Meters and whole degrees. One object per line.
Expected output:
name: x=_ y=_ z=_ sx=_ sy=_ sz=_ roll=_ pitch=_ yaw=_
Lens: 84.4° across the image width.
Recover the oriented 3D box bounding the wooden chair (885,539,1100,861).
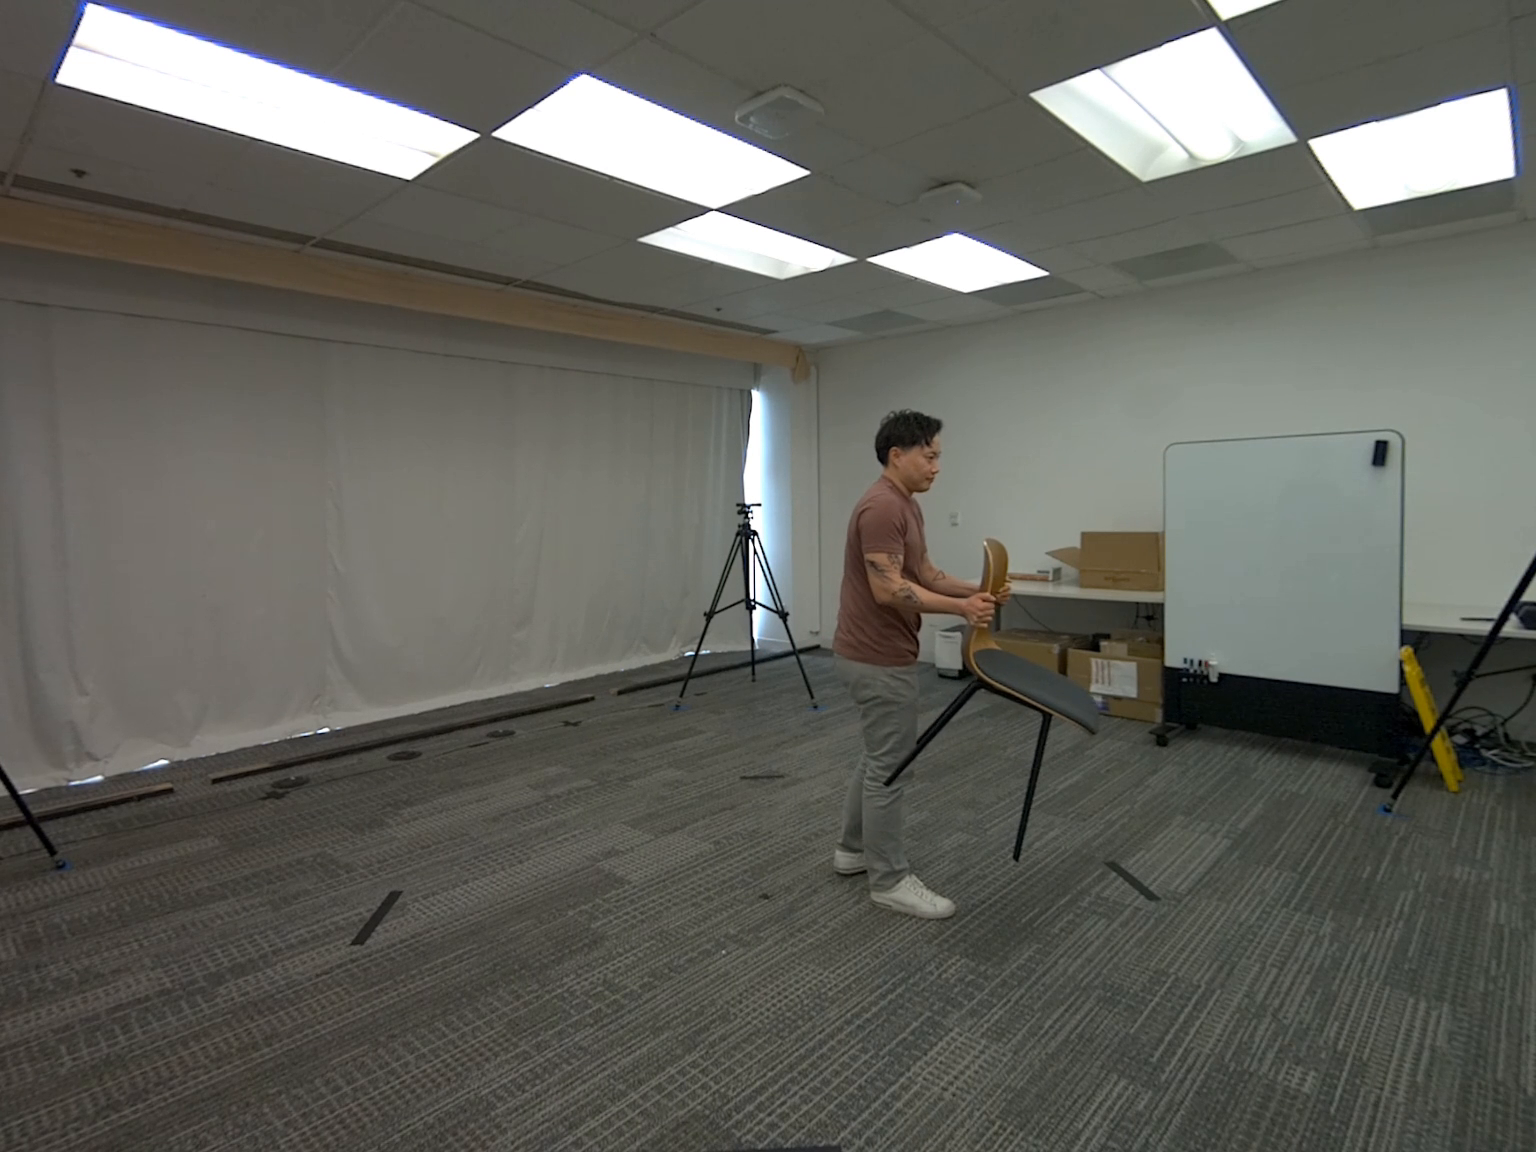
wooden chair: x=0.814 y=0.382 z=2.744 sx=0.536 sy=0.875 sz=0.468 roll=23 pitch=12 yaw=20
